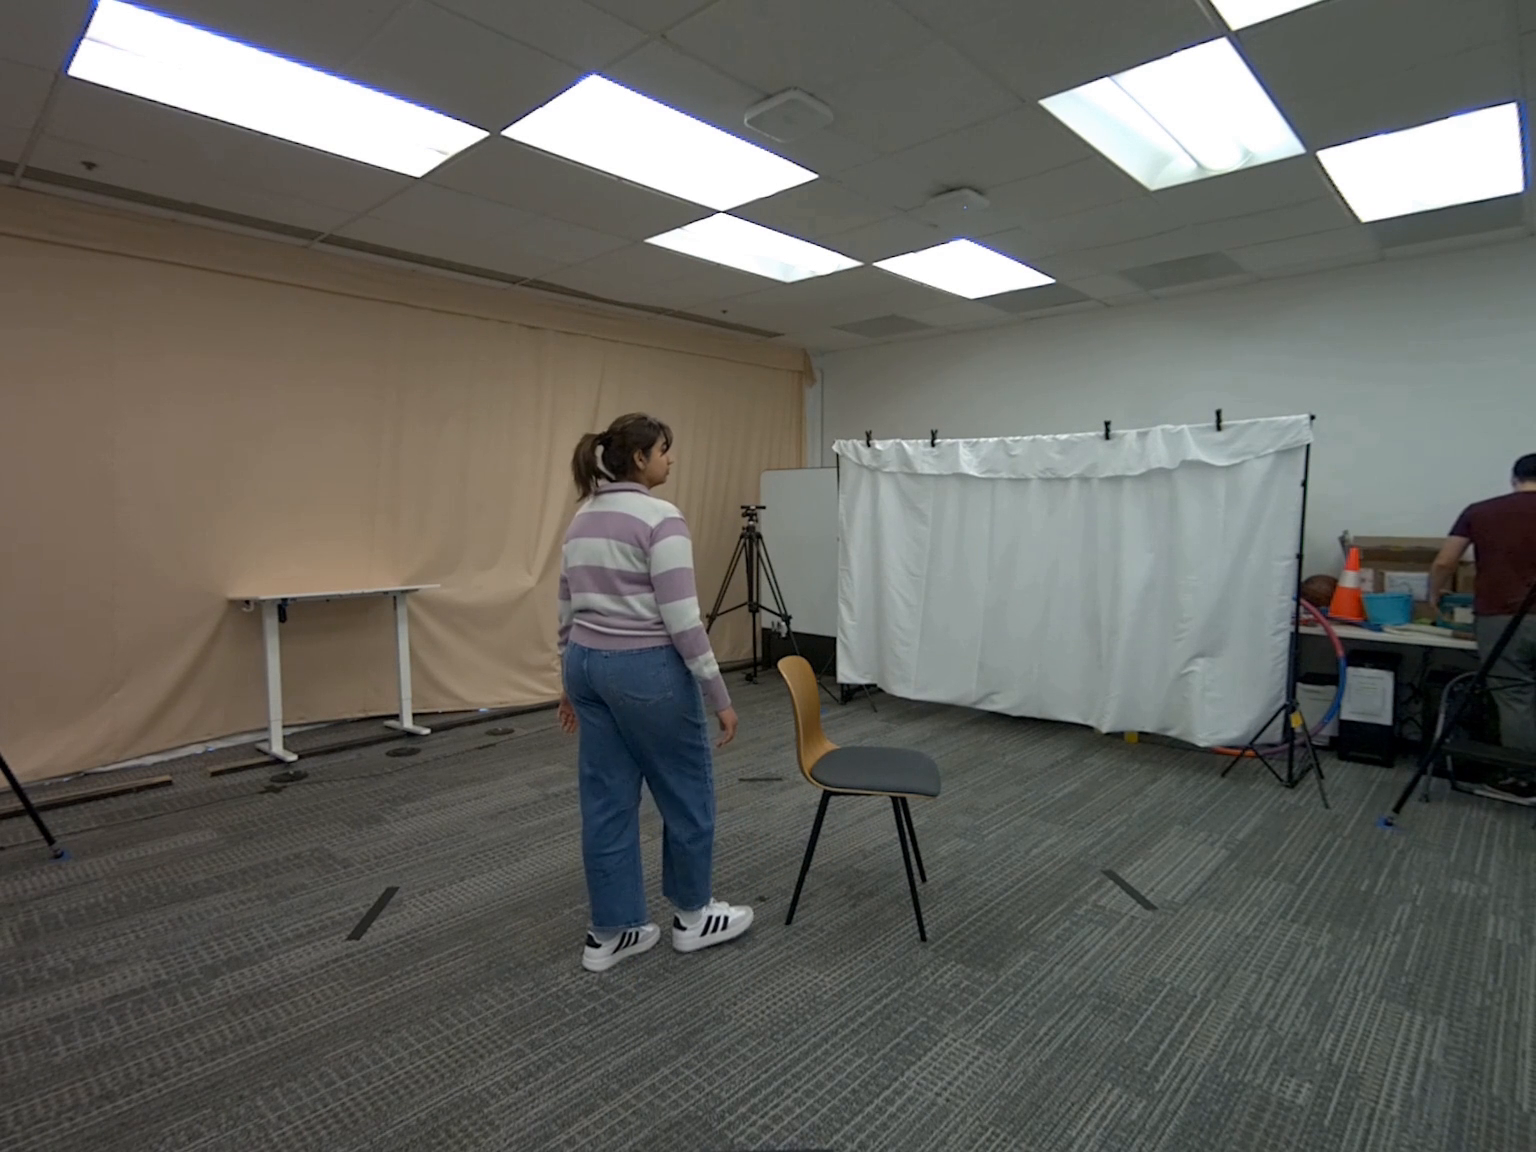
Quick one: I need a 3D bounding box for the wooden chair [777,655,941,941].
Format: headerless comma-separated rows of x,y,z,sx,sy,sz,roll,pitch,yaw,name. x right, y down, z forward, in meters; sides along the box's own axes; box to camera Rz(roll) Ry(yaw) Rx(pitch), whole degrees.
0.334,0.722,2.918,0.531,0.876,0.472,-3,3,14,wooden chair
